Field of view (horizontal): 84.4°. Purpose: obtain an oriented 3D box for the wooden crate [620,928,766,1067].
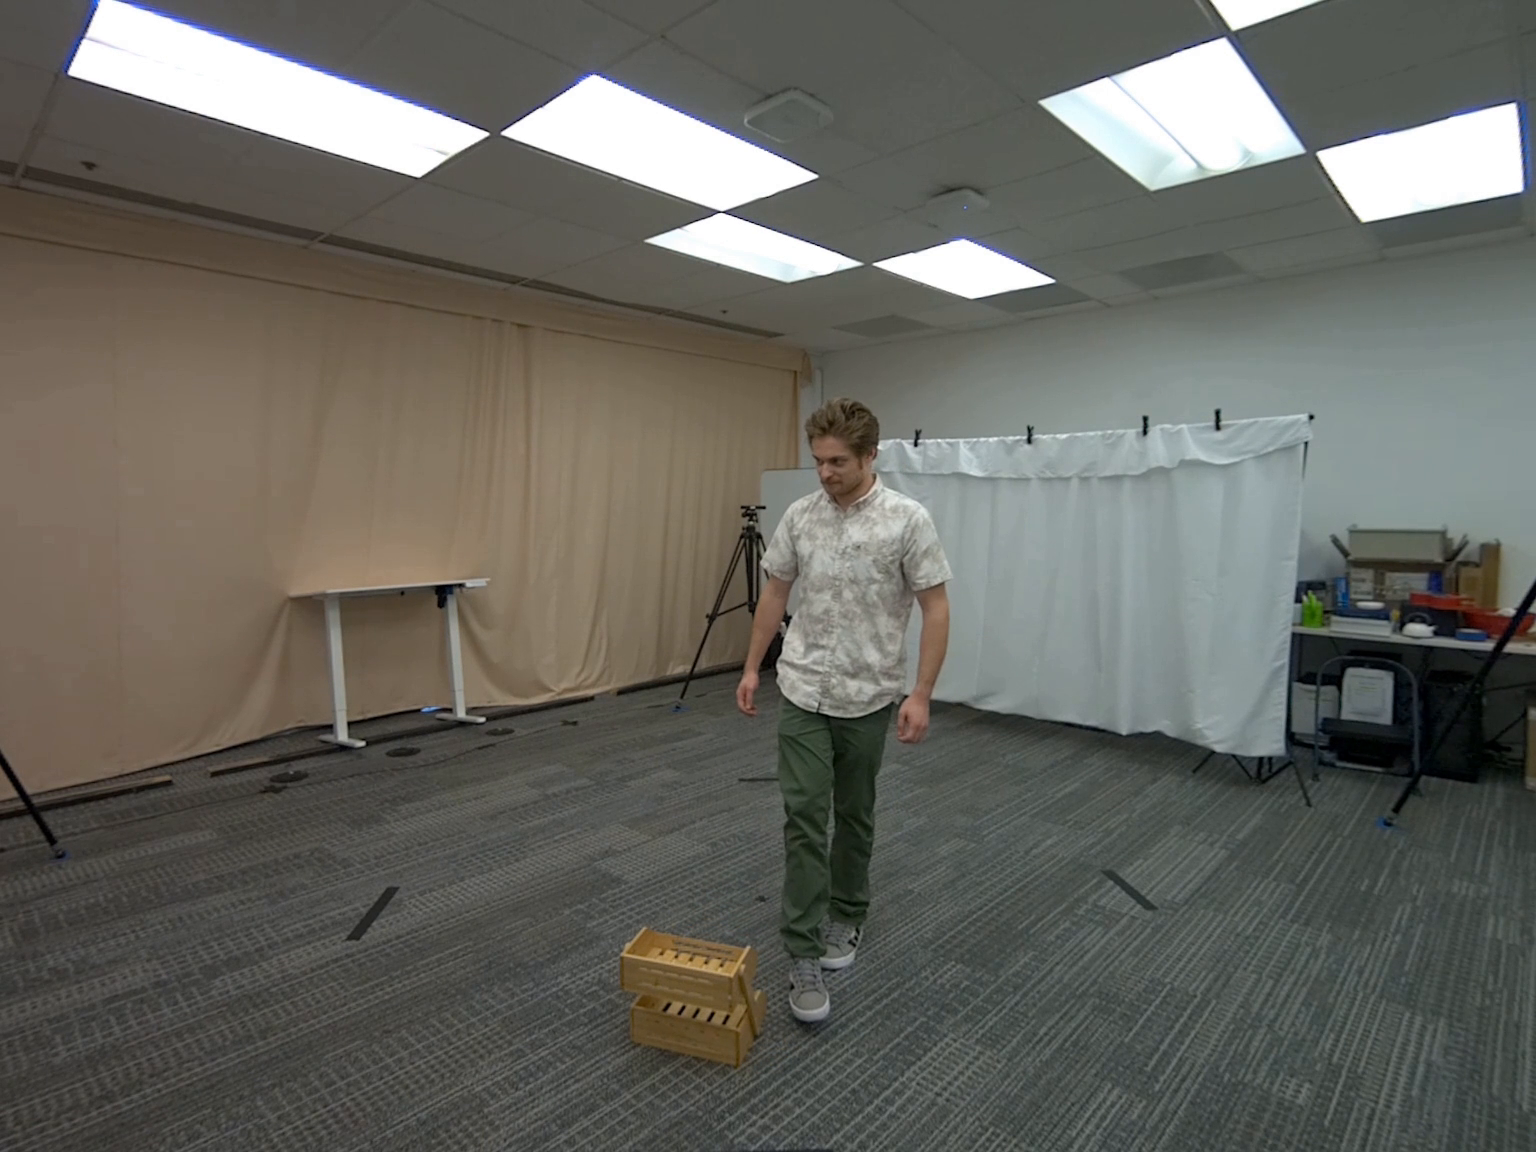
[{"bbox_3d":[-0.186,1.074,2.221,0.331,0.272,0.297,1,4,18],"label":"wooden crate"}]
